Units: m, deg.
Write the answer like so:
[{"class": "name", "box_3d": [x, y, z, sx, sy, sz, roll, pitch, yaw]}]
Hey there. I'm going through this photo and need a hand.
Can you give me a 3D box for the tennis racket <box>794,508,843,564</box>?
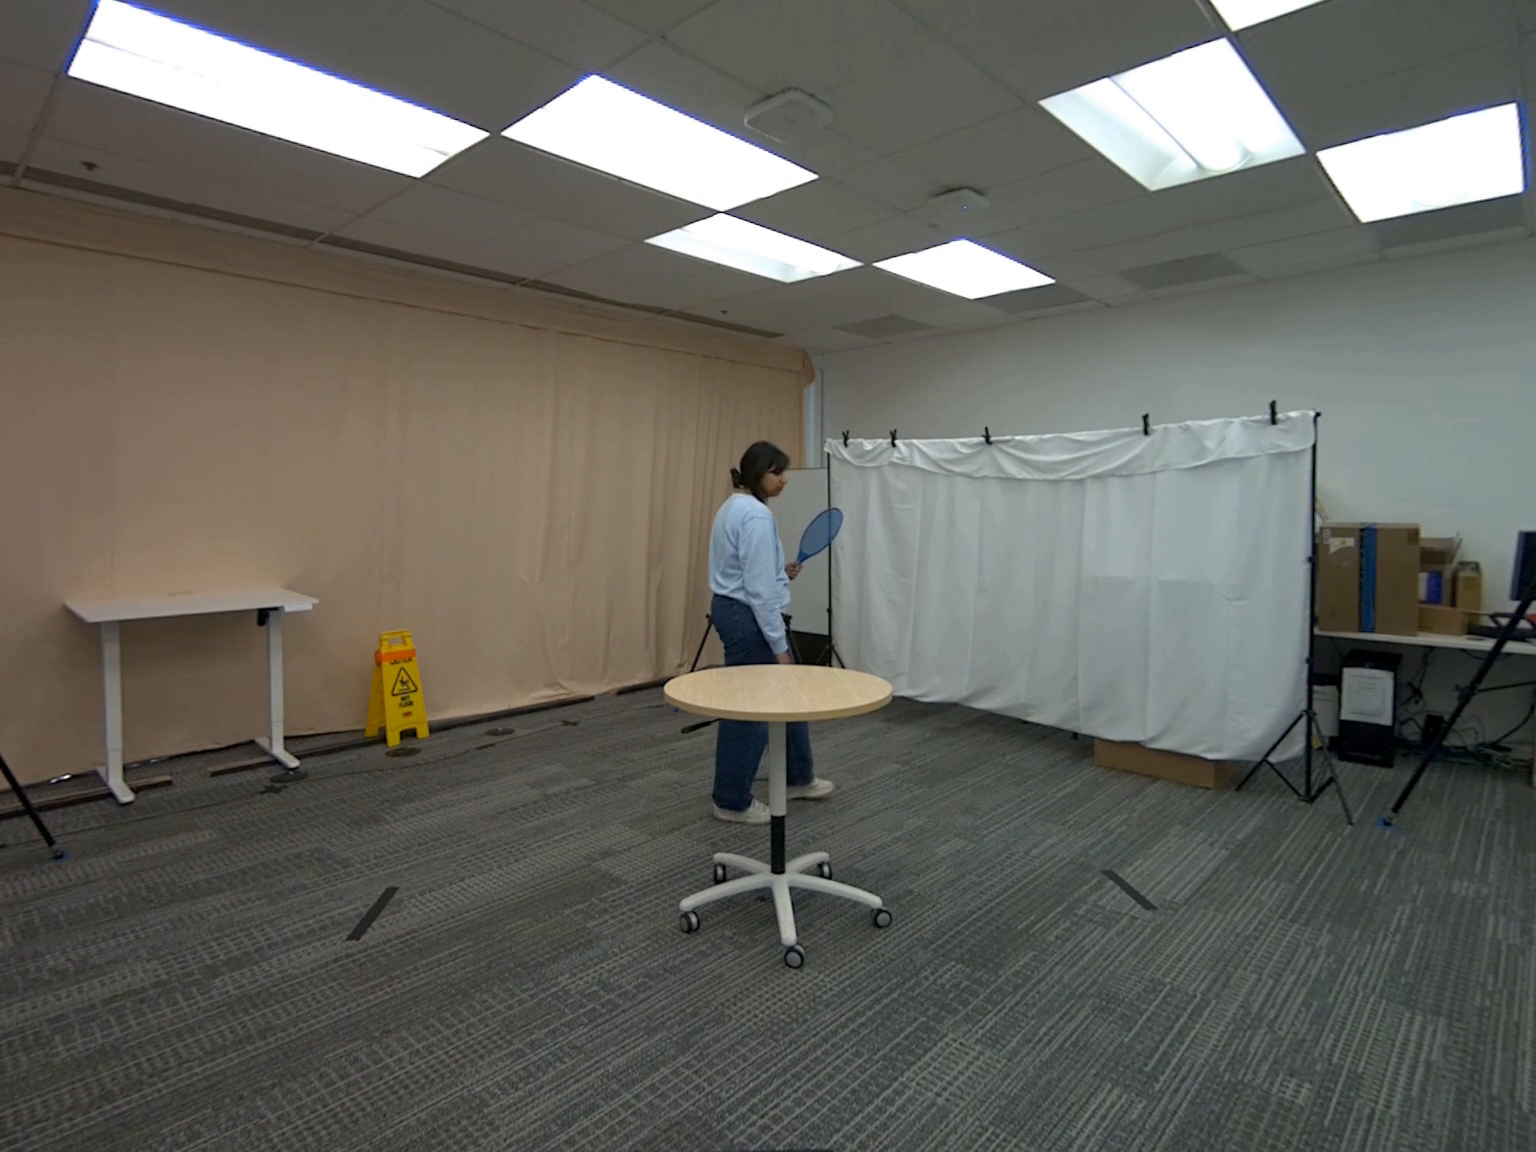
[{"class": "tennis racket", "box_3d": [0.199, -0.144, 3.848, 0.031, 0.433, 0.221, 38, 3, -35]}]
